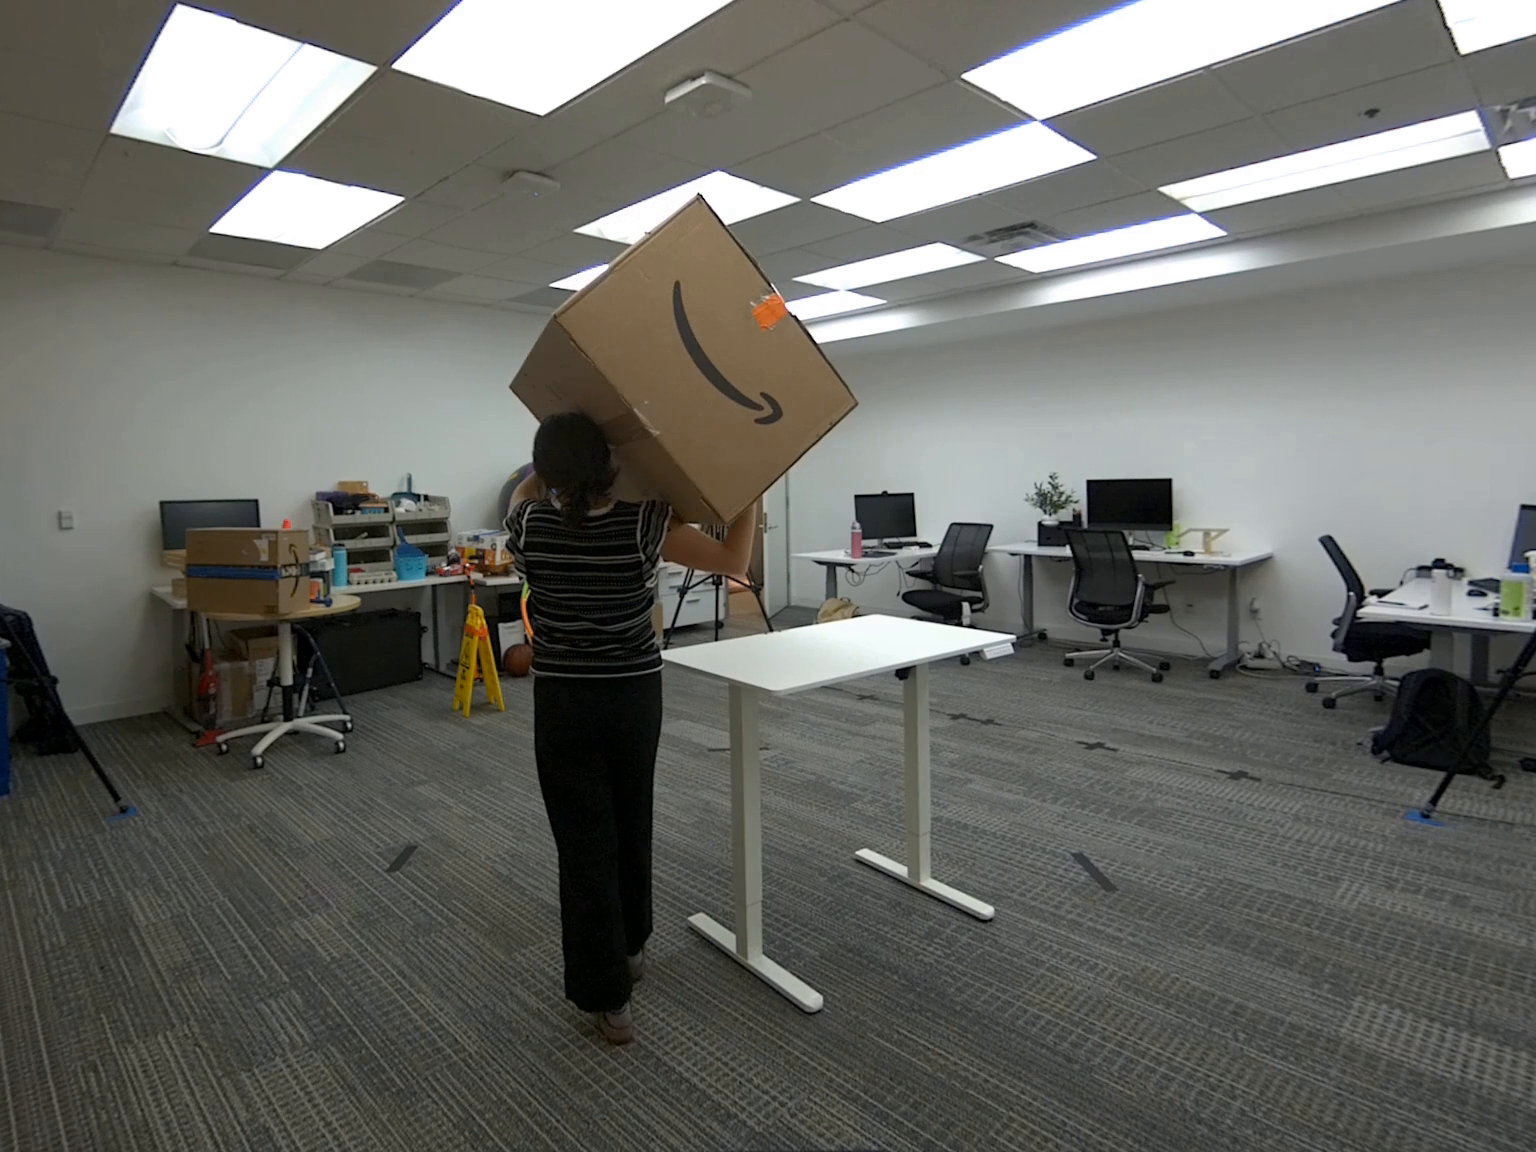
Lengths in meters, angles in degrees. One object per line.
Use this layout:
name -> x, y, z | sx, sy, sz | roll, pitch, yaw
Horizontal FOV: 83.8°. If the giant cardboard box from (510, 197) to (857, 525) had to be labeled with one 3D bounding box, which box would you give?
giant cardboard box -> -0.296, -0.492, 2.312 | 0.425, 0.567, 1.047 | -43, 17, -13
